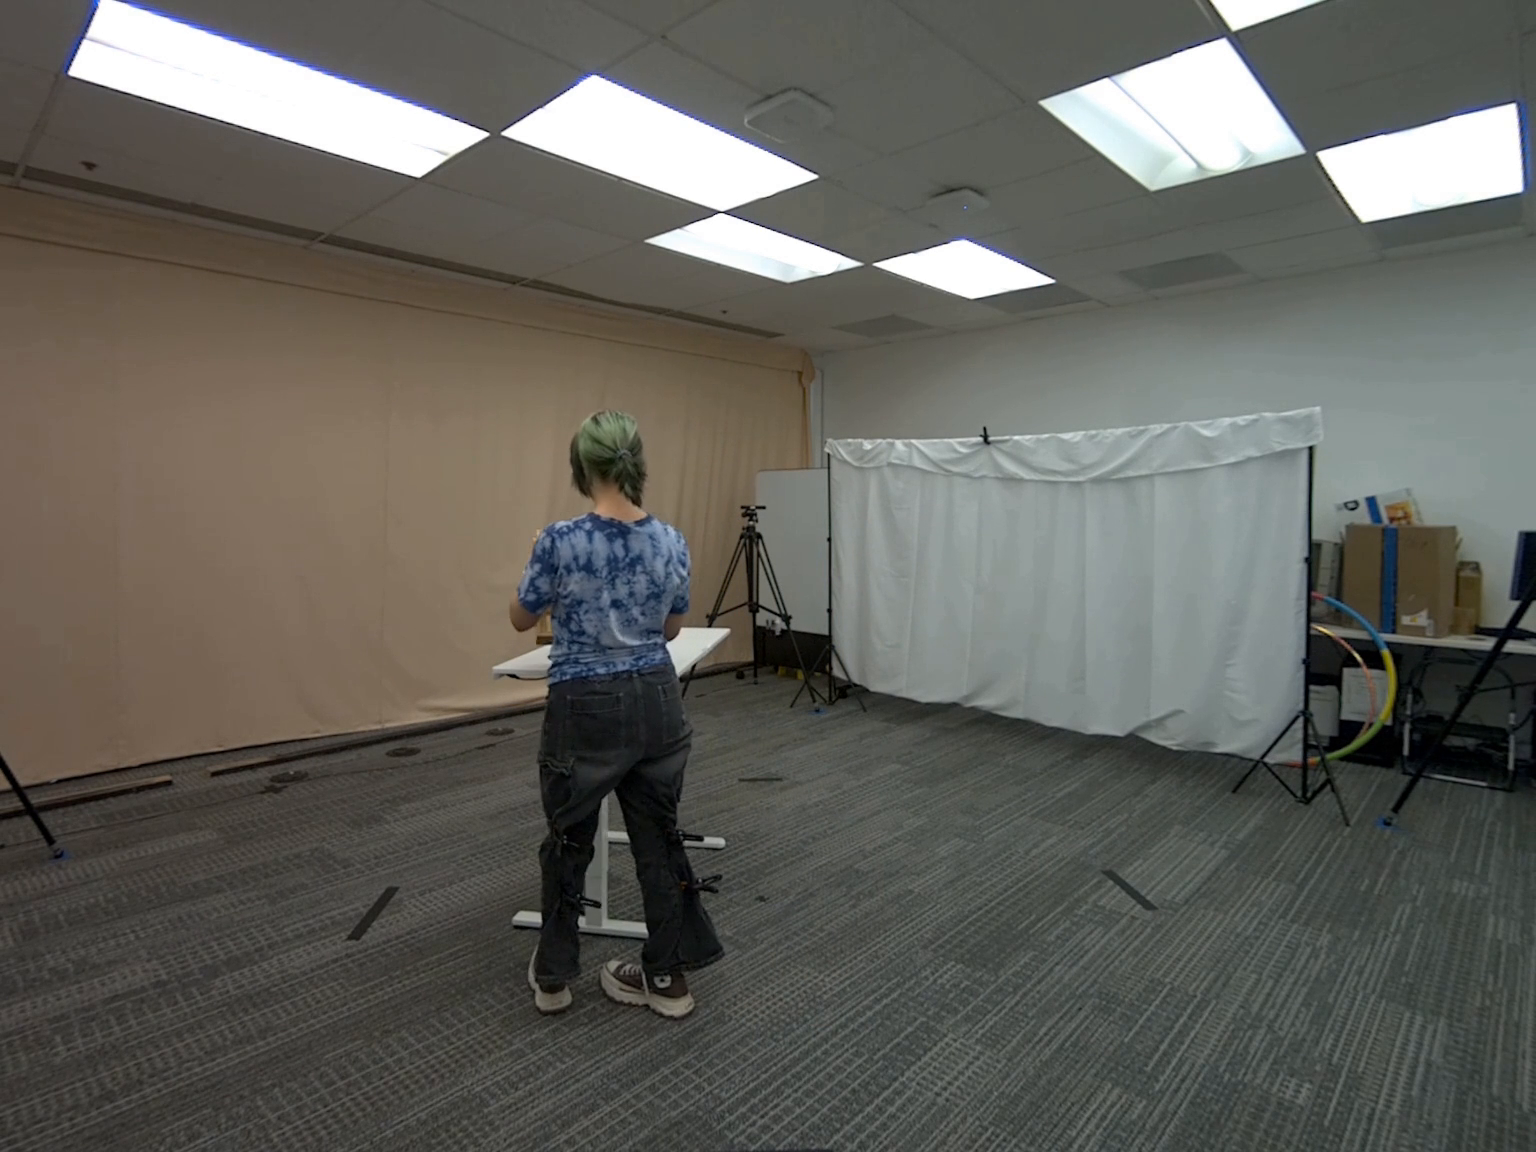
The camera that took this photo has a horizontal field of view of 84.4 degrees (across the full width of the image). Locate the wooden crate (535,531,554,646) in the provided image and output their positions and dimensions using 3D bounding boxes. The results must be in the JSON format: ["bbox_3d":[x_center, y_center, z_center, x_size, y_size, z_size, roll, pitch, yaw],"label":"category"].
[{"bbox_3d":[-0.587,0.036,2.631,0.318,0.271,0.310,2,25,-18],"label":"wooden crate"}]
